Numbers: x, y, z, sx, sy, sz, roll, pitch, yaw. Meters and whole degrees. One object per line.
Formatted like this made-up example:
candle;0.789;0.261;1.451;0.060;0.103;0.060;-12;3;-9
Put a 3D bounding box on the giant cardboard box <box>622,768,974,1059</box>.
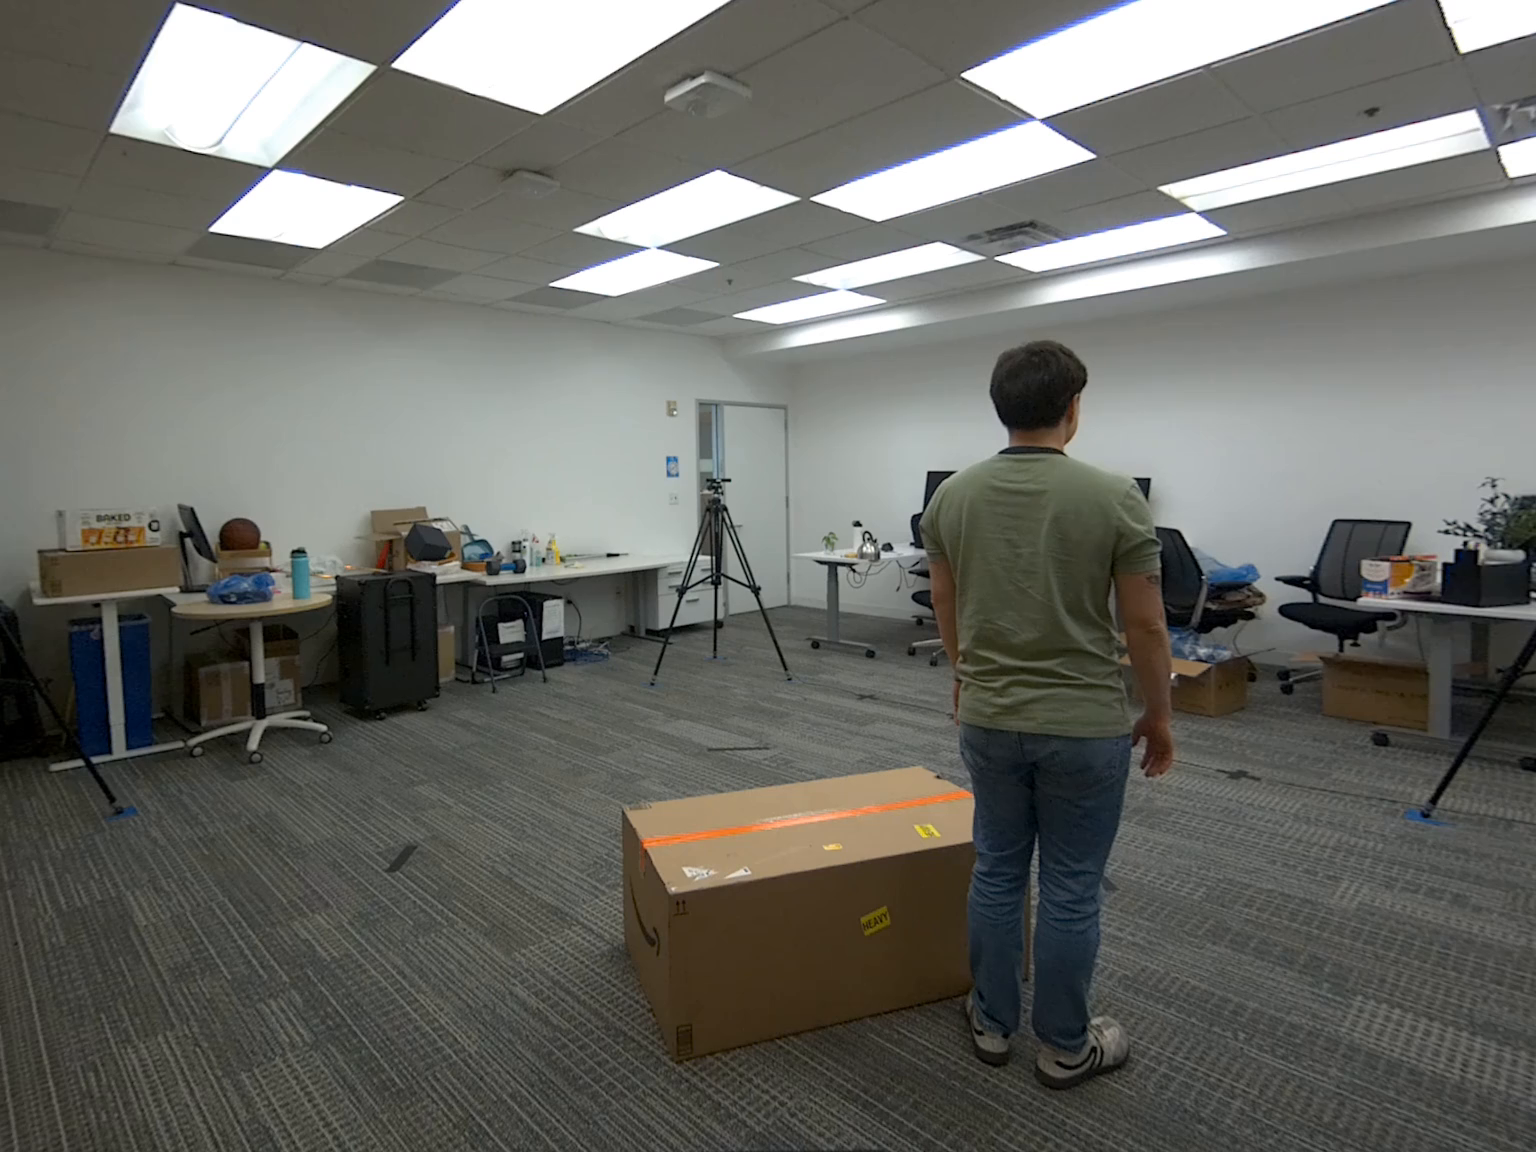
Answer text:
giant cardboard box;0.142;0.899;2.465;1.009;0.424;0.590;-3;7;-19
